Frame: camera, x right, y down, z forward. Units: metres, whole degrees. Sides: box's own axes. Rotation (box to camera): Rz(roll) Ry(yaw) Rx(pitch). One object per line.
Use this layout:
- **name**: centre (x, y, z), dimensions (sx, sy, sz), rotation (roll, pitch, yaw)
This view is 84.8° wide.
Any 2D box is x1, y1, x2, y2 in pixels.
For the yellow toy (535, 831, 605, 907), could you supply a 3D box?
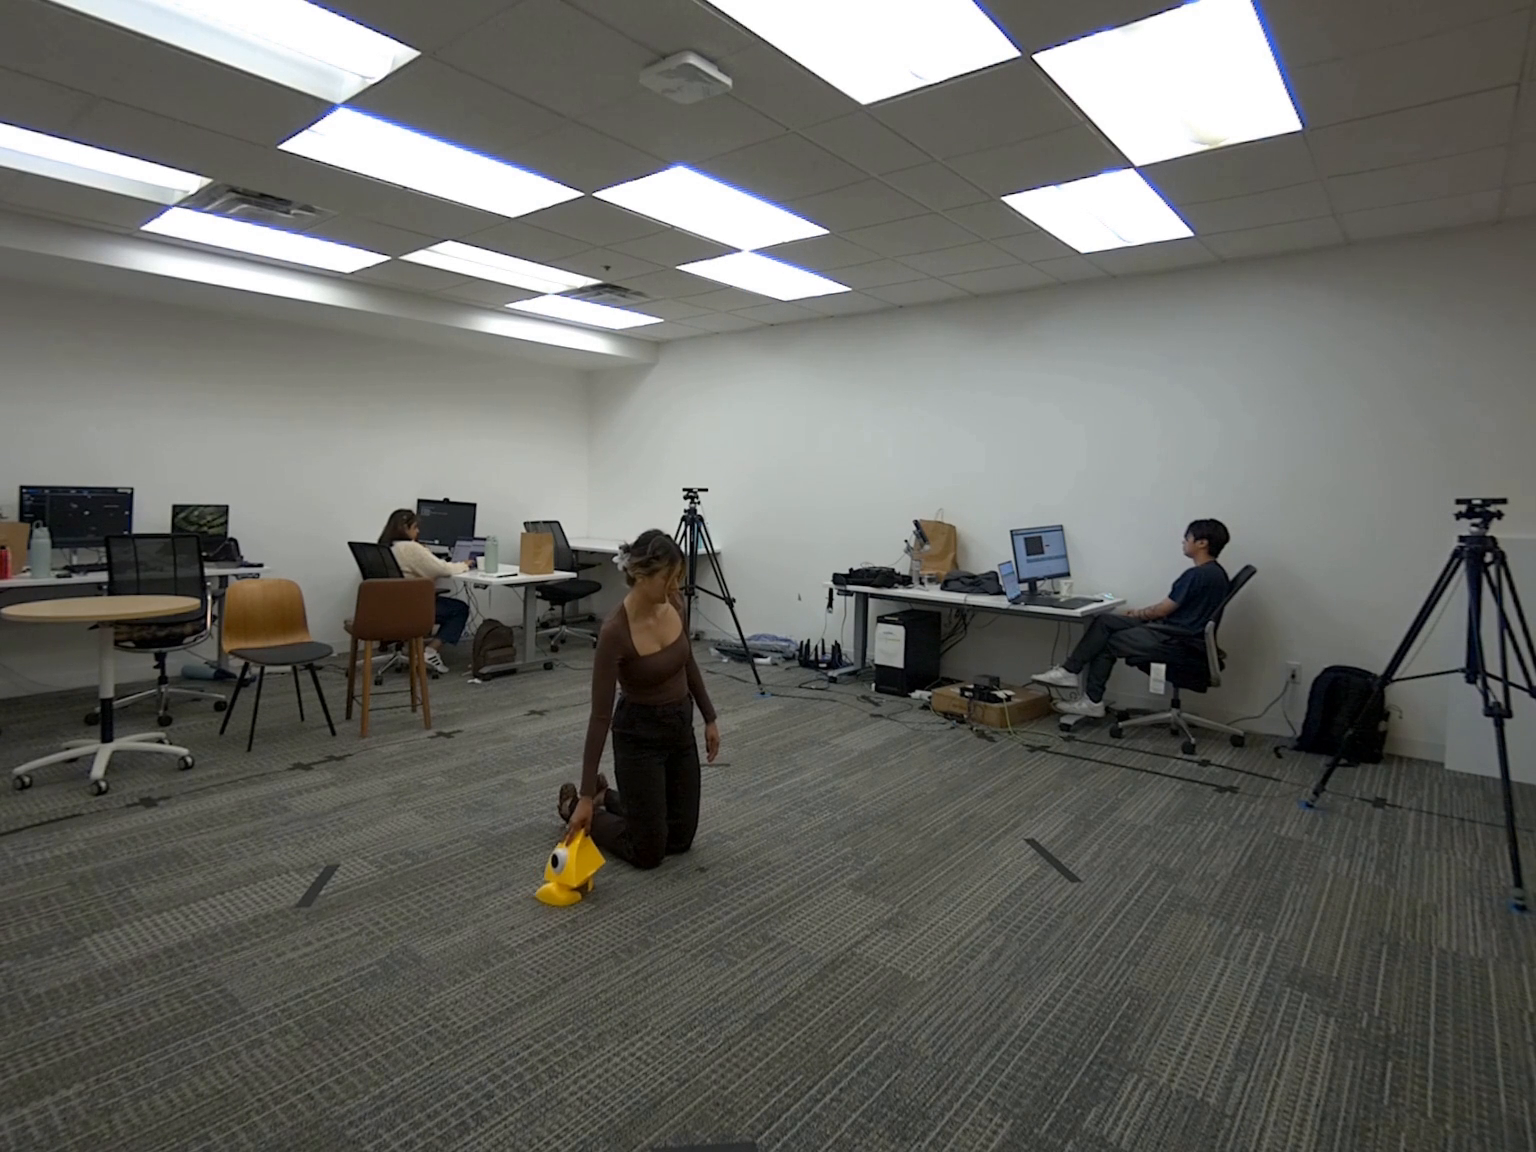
- **yellow toy**: centre (-0.697, 0.968, 2.909), dimensions (0.197, 0.230, 0.201), rotation (4, 5, 20)
